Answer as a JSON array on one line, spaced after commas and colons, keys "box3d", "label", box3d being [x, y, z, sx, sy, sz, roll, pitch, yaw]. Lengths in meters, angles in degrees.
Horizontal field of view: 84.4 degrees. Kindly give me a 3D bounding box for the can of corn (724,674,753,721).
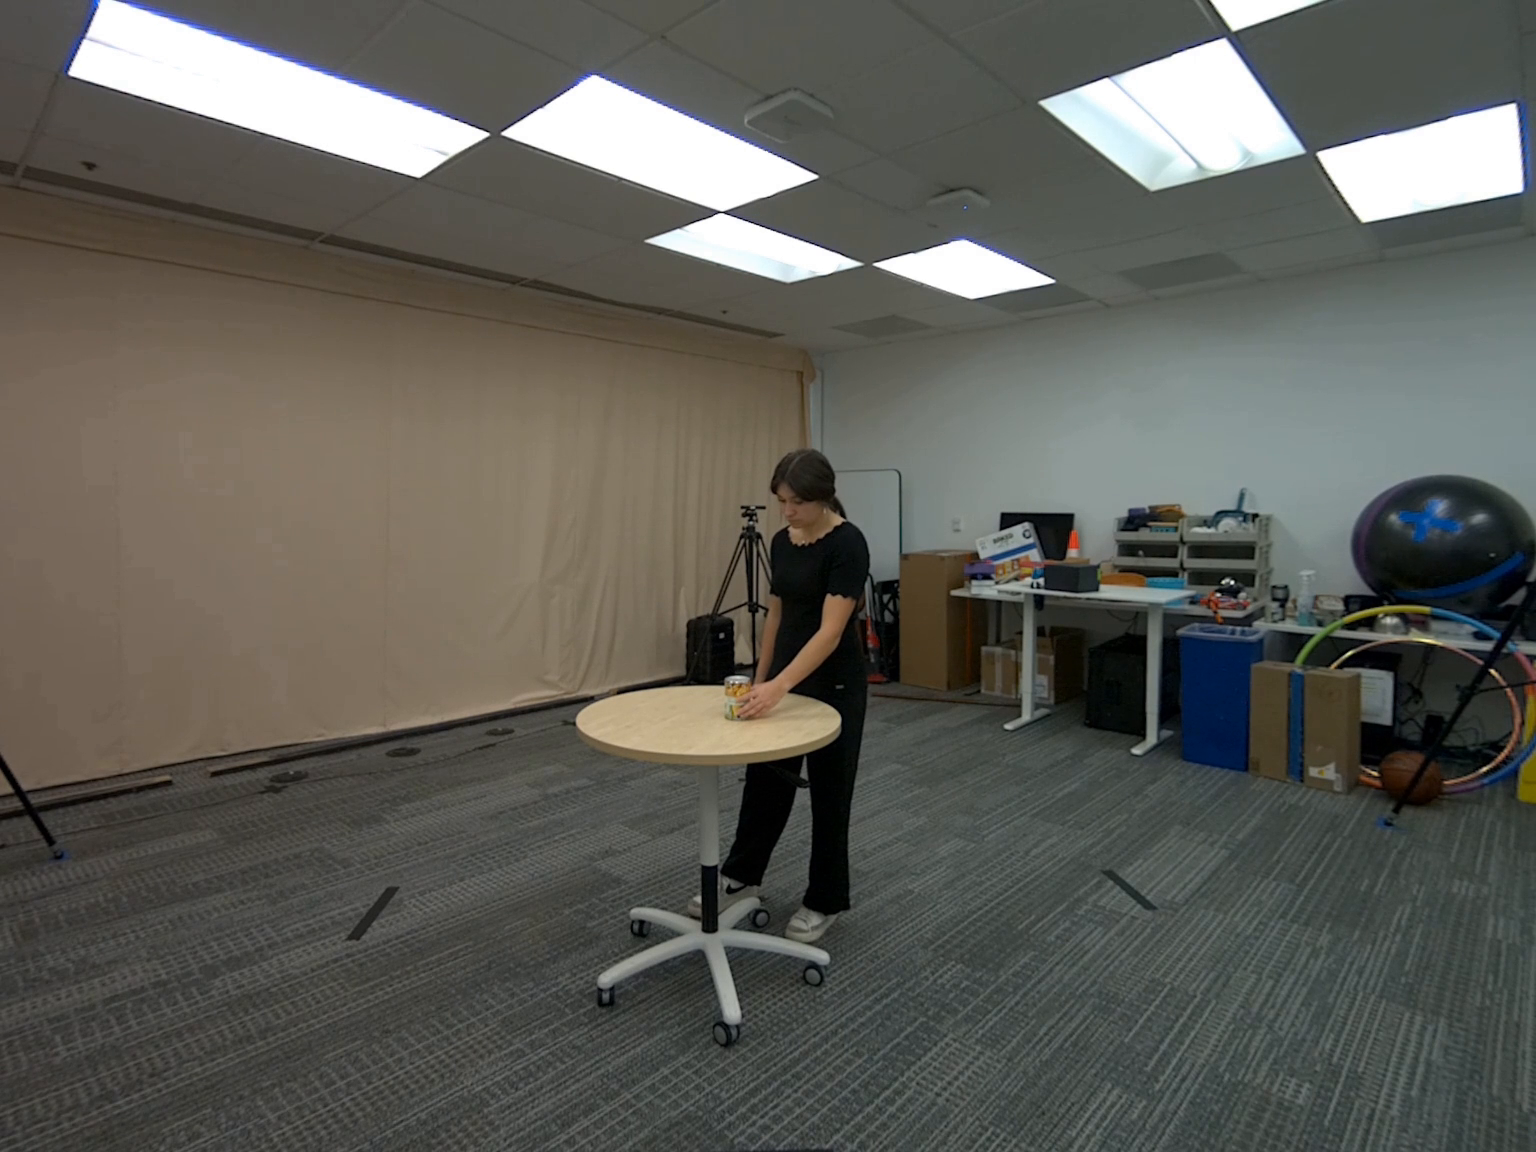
[{"box3d": [-0.084, 0.356, 2.416, 0.074, 0.111, 0.074, 1, 5, -2], "label": "can of corn"}]
